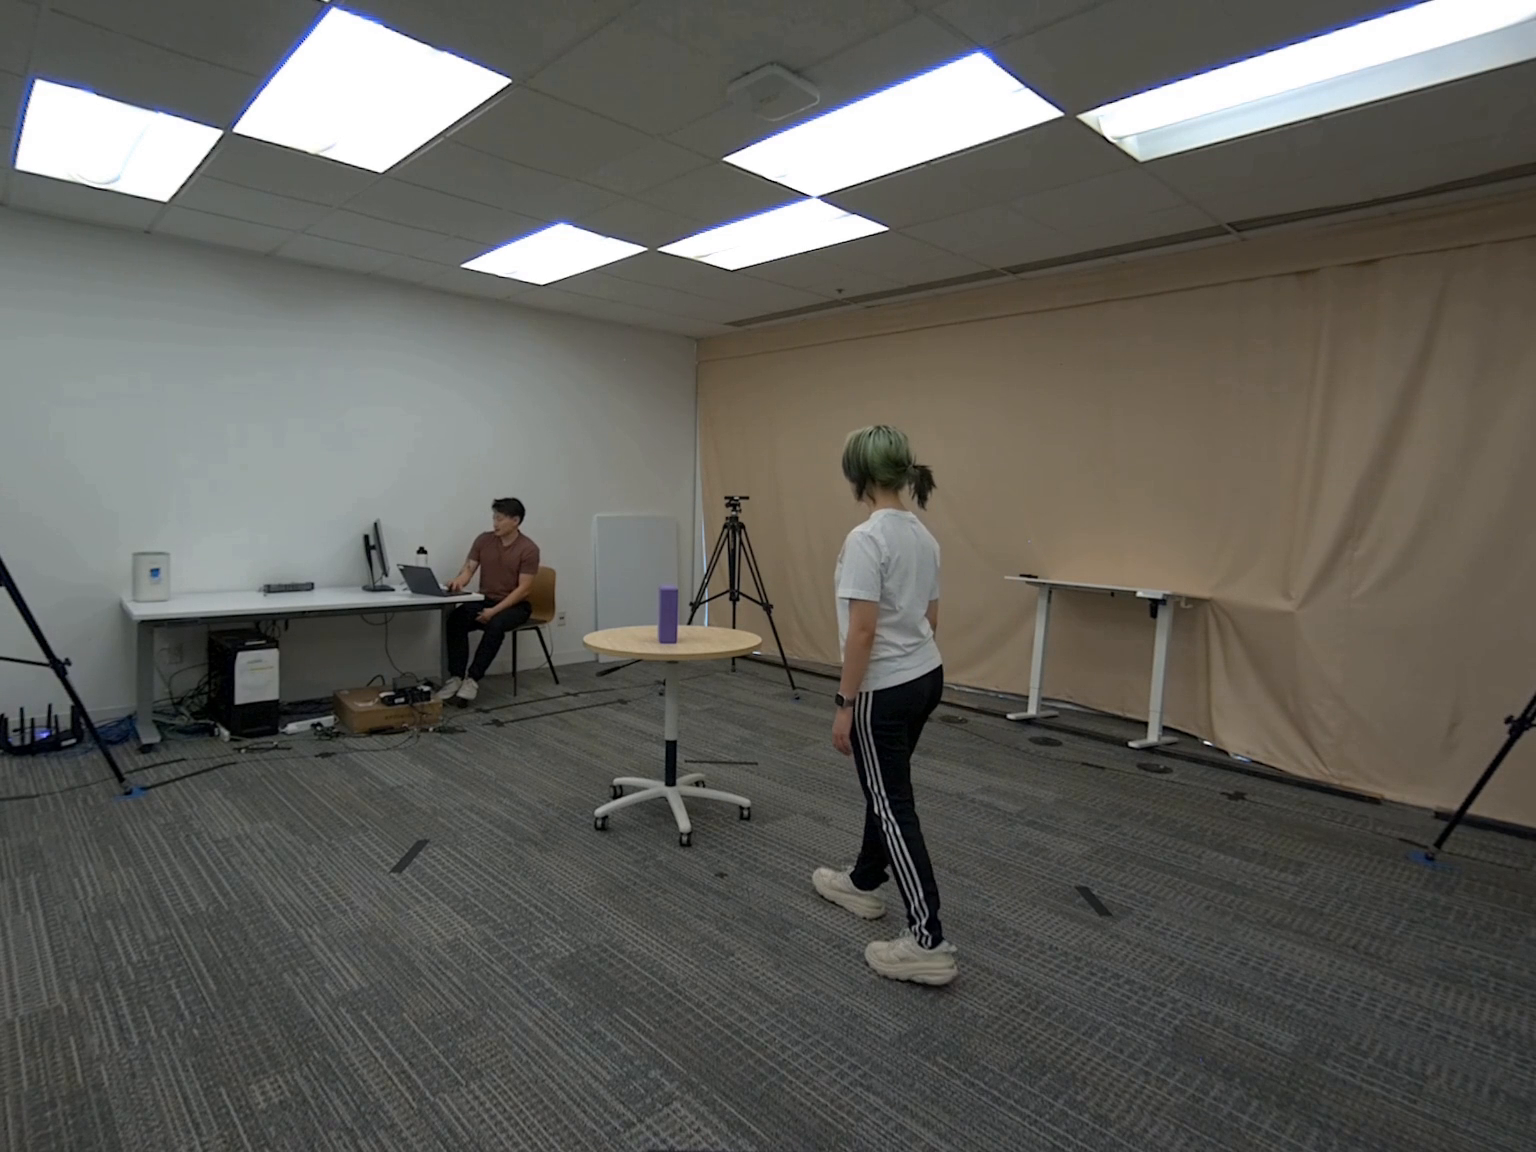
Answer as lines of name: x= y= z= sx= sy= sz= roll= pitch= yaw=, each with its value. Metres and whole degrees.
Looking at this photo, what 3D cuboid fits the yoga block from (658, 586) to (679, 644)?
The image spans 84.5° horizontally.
yoga block: x=-0.431 y=0.161 z=3.545 sx=0.076 sy=0.229 sz=0.149 roll=1 pitch=0 yaw=-5
